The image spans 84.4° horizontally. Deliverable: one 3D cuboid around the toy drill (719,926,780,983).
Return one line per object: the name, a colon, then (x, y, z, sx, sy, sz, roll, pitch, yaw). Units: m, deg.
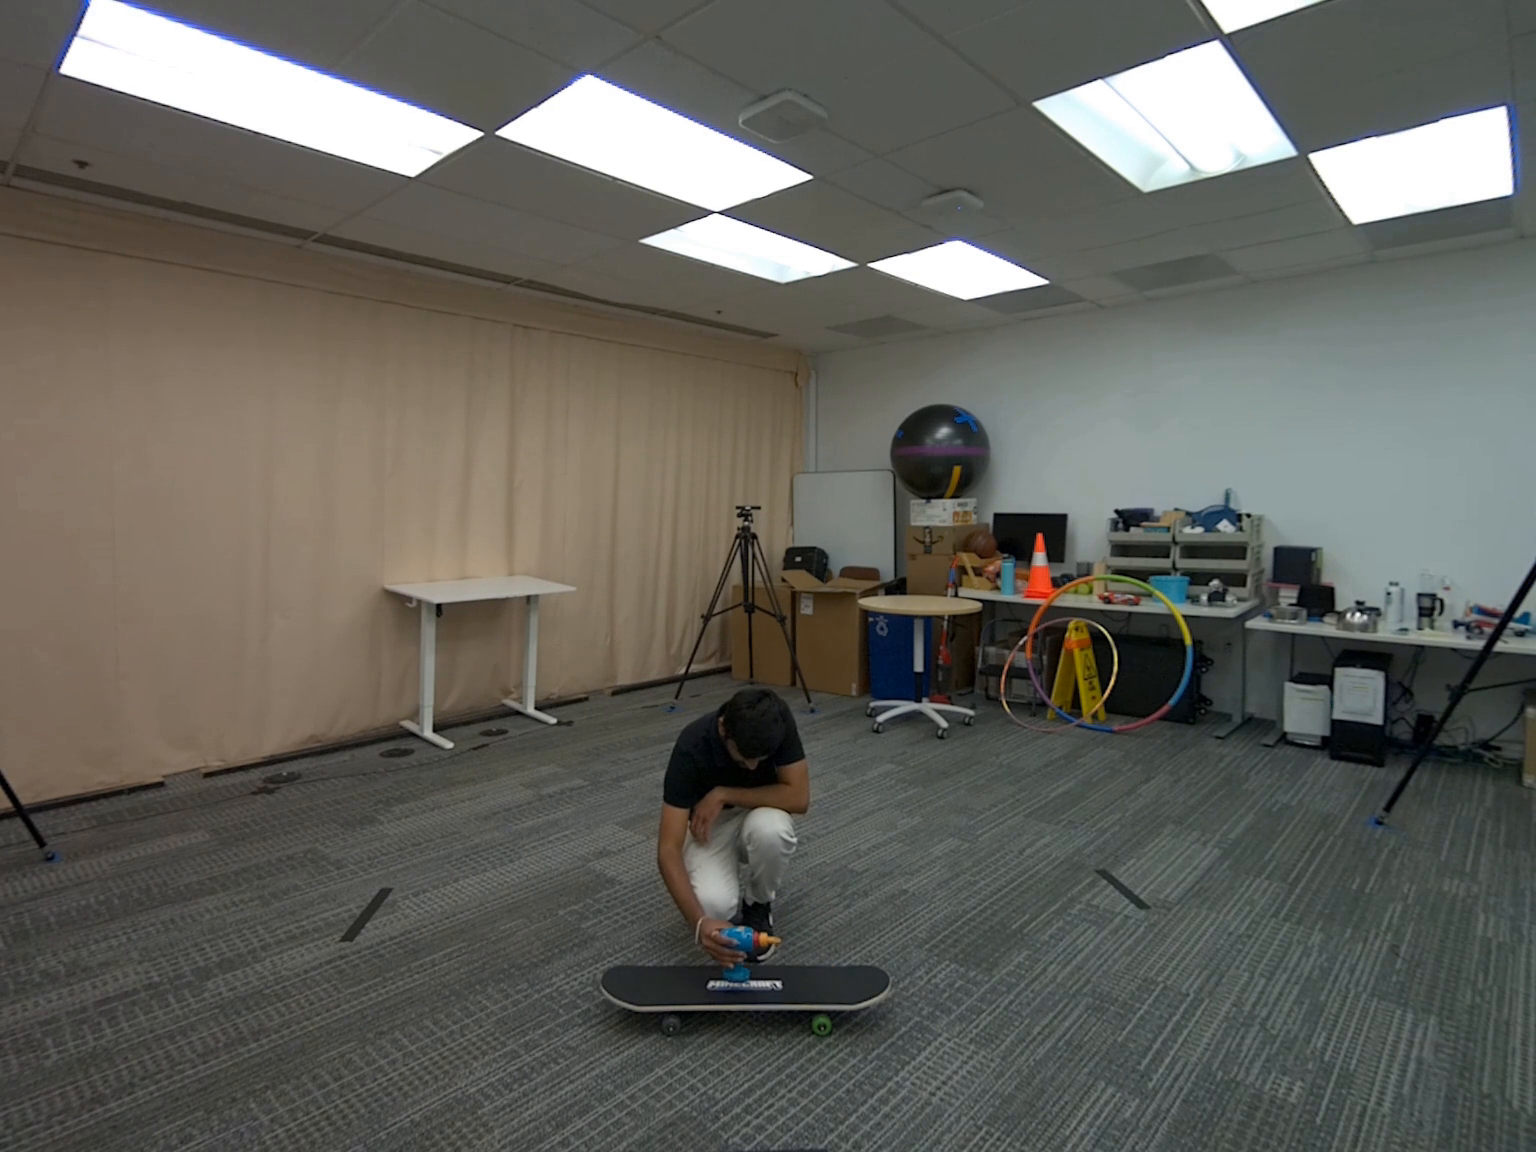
toy drill: (-0.048, 0.998, 2.243, 0.171, 0.145, 0.061, -2, 7, 5)
